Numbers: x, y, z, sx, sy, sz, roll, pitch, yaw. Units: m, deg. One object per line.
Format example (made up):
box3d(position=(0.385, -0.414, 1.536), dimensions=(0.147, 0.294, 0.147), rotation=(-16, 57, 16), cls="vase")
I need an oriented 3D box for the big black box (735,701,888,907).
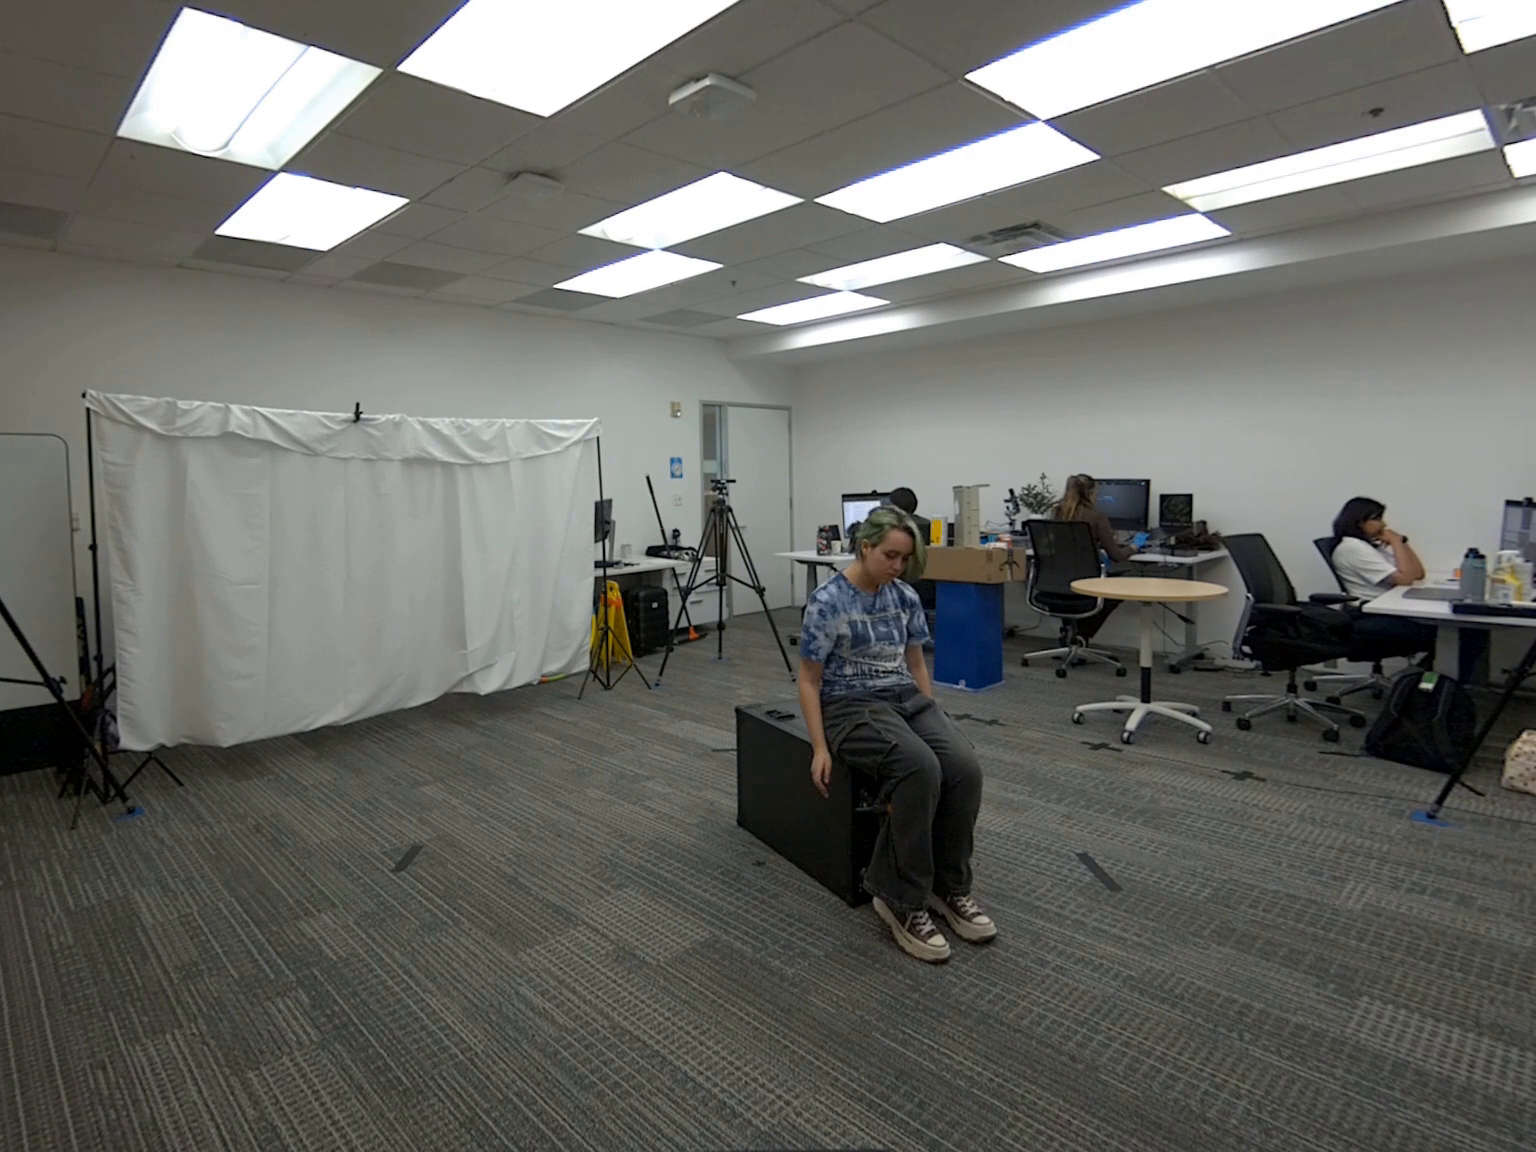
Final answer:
box3d(position=(0.247, 0.794, 3.164), dimensions=(0.387, 0.518, 0.885), rotation=(-4, 7, -28), cls="big black box")
